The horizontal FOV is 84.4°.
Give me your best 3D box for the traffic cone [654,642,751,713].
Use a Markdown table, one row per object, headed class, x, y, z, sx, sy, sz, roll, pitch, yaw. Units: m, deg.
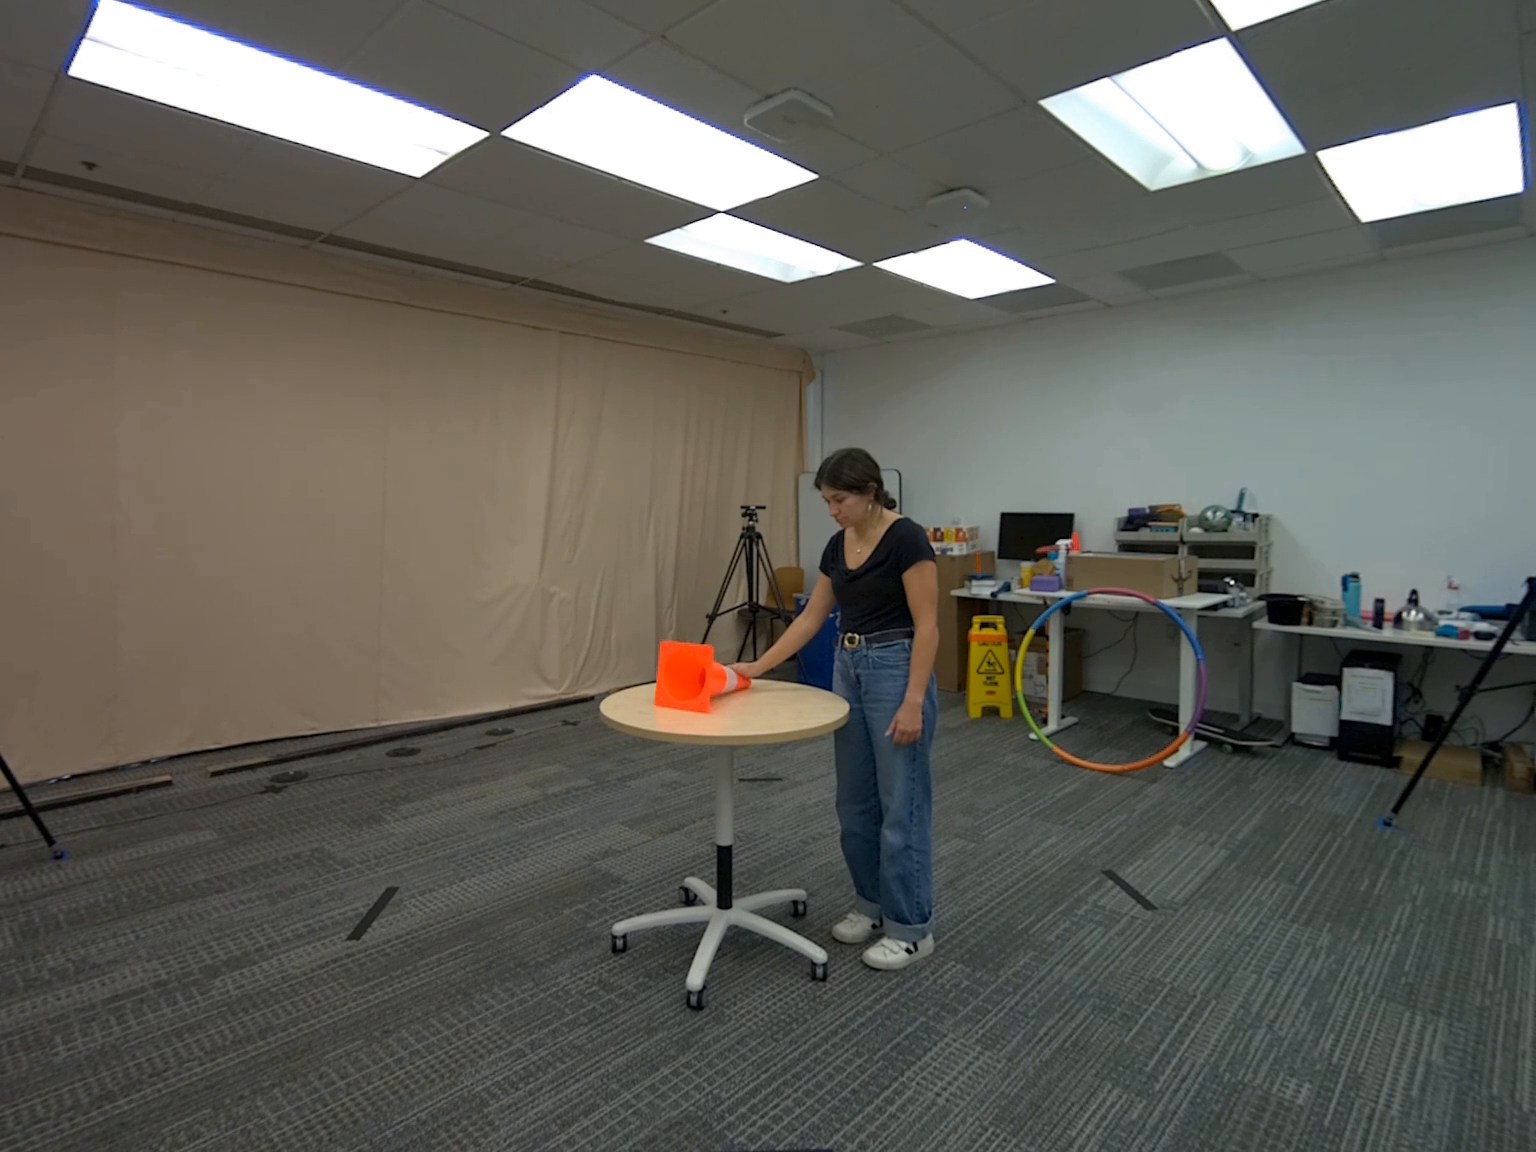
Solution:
| class | x | y | z | sx | sy | sz | roll | pitch | yaw |
| --- | --- | --- | --- | --- | --- | --- | --- | --- | --- |
| traffic cone | -0.148 | 0.337 | 2.674 | 0.209 | 0.206 | 0.371 | 3 | -9 | 32 |
